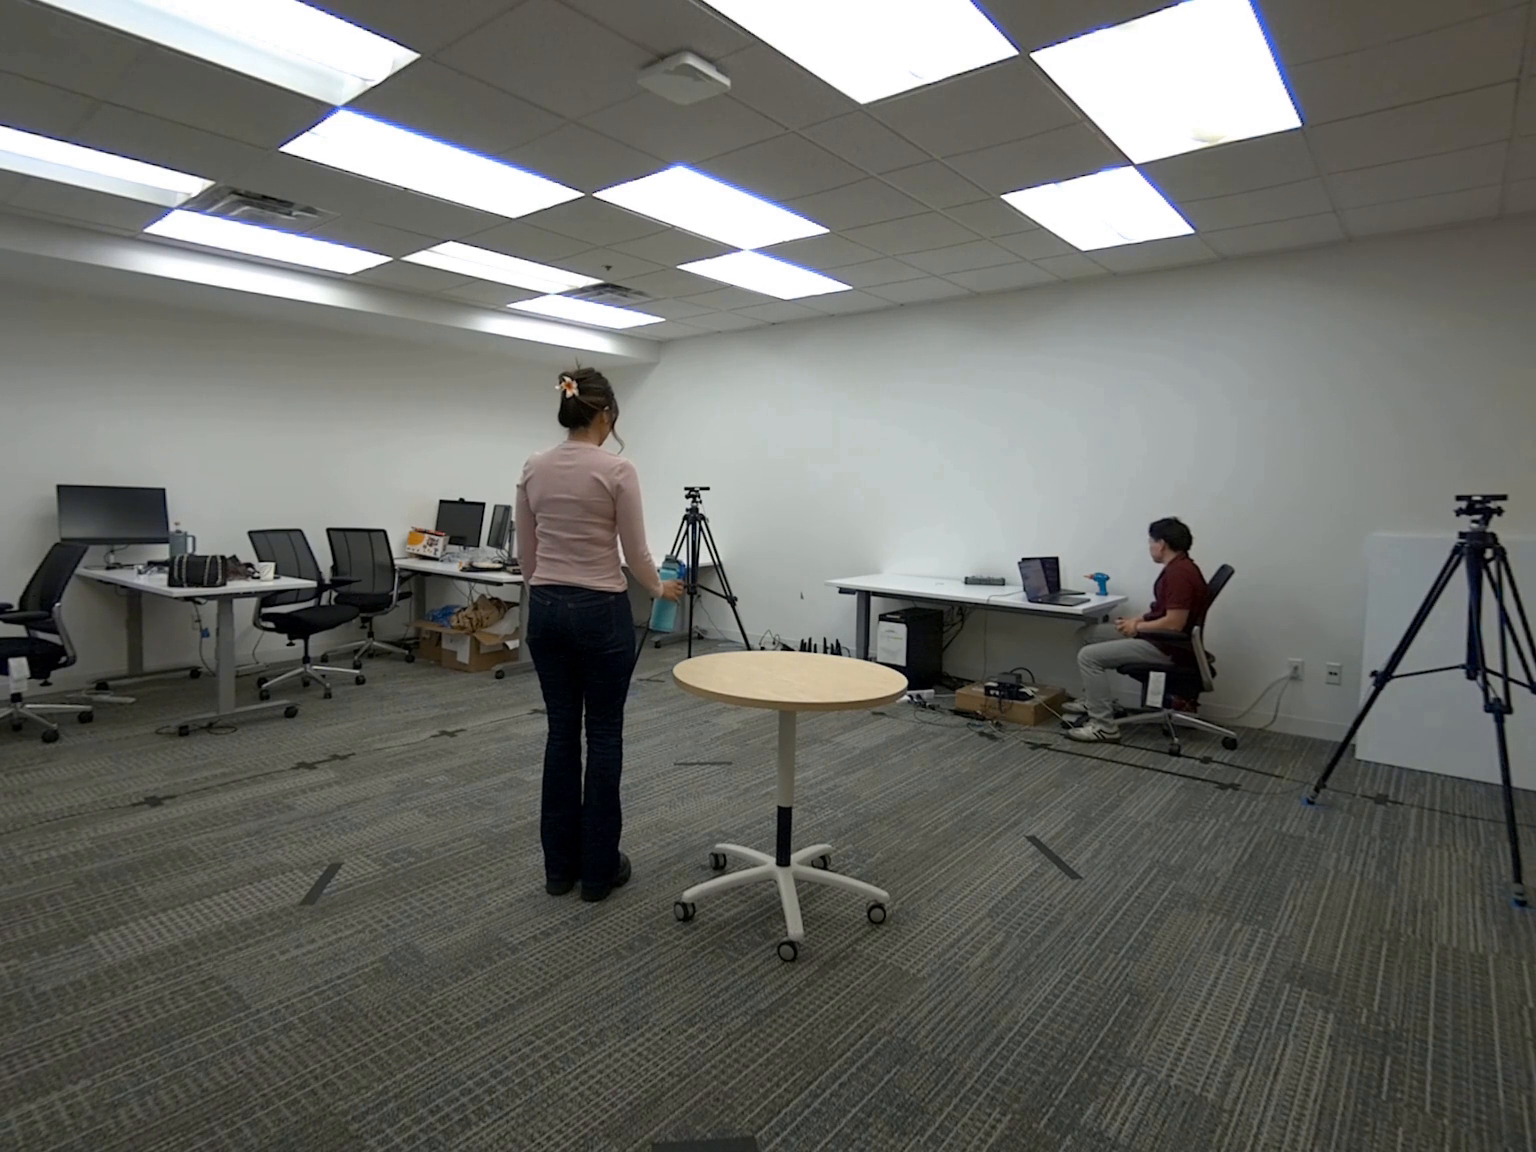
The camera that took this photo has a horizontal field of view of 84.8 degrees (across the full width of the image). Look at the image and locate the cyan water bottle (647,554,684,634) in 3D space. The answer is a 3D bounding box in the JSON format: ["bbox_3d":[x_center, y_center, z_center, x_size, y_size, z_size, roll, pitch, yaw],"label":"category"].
[{"bbox_3d":[-0.388,0.062,3.198,0.092,0.284,0.092,14,-3,-1],"label":"cyan water bottle"}]
